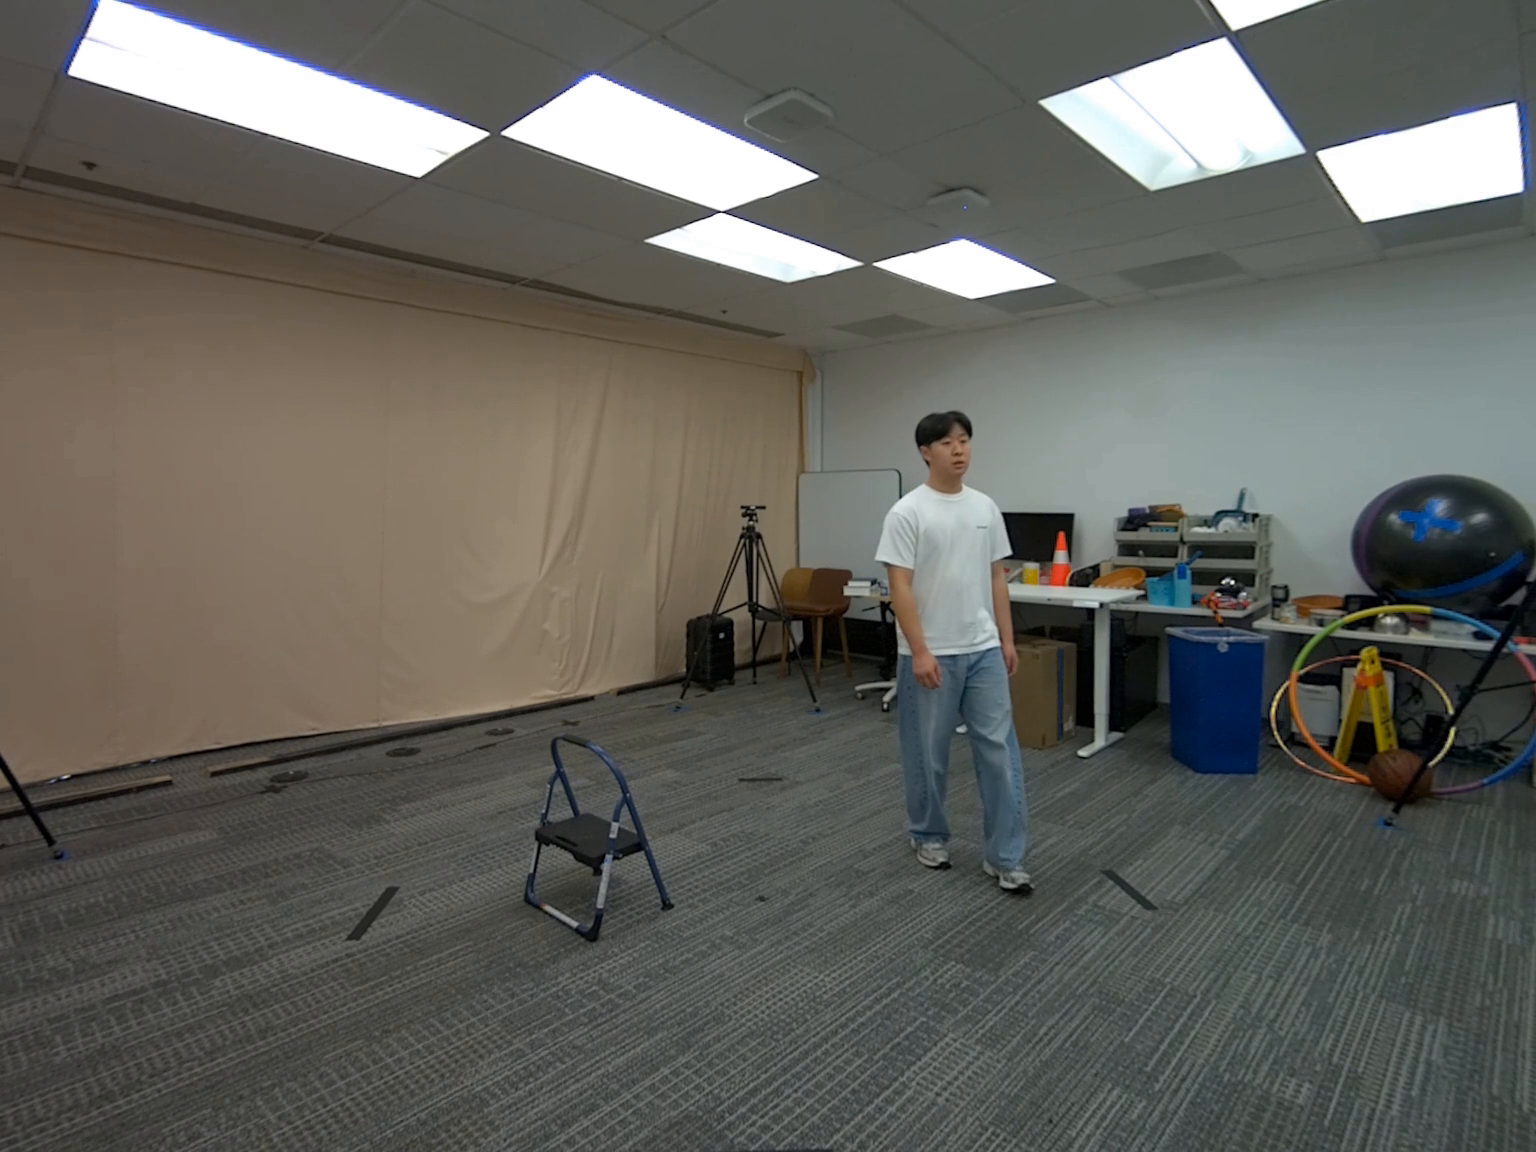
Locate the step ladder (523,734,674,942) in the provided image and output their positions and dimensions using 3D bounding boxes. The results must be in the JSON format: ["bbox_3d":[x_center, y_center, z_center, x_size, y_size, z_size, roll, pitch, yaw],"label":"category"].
[{"bbox_3d":[-0.598,0.847,2.936,0.445,0.605,0.338,3,4,43],"label":"step ladder"}]
